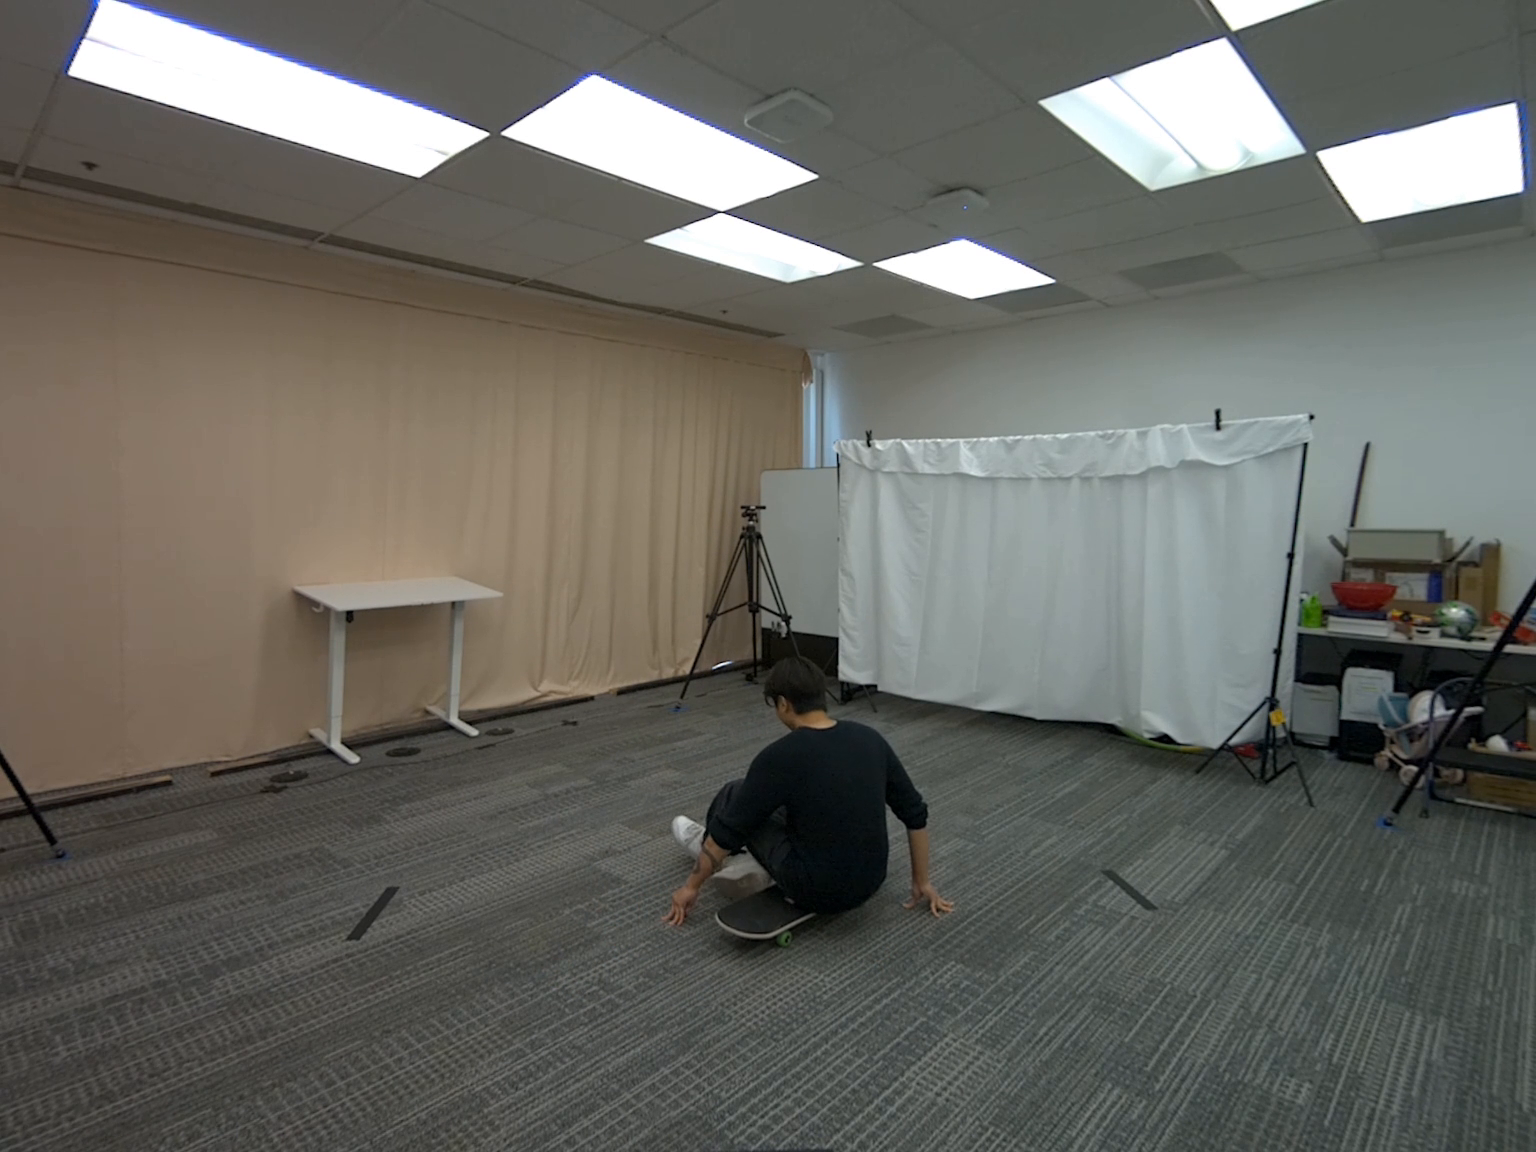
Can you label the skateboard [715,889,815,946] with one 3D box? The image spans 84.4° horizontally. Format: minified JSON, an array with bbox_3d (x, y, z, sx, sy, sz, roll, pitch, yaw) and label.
[{"bbox_3d":[0.129,1.110,2.843,0.761,0.110,0.200,-3,12,-42],"label":"skateboard"}]
